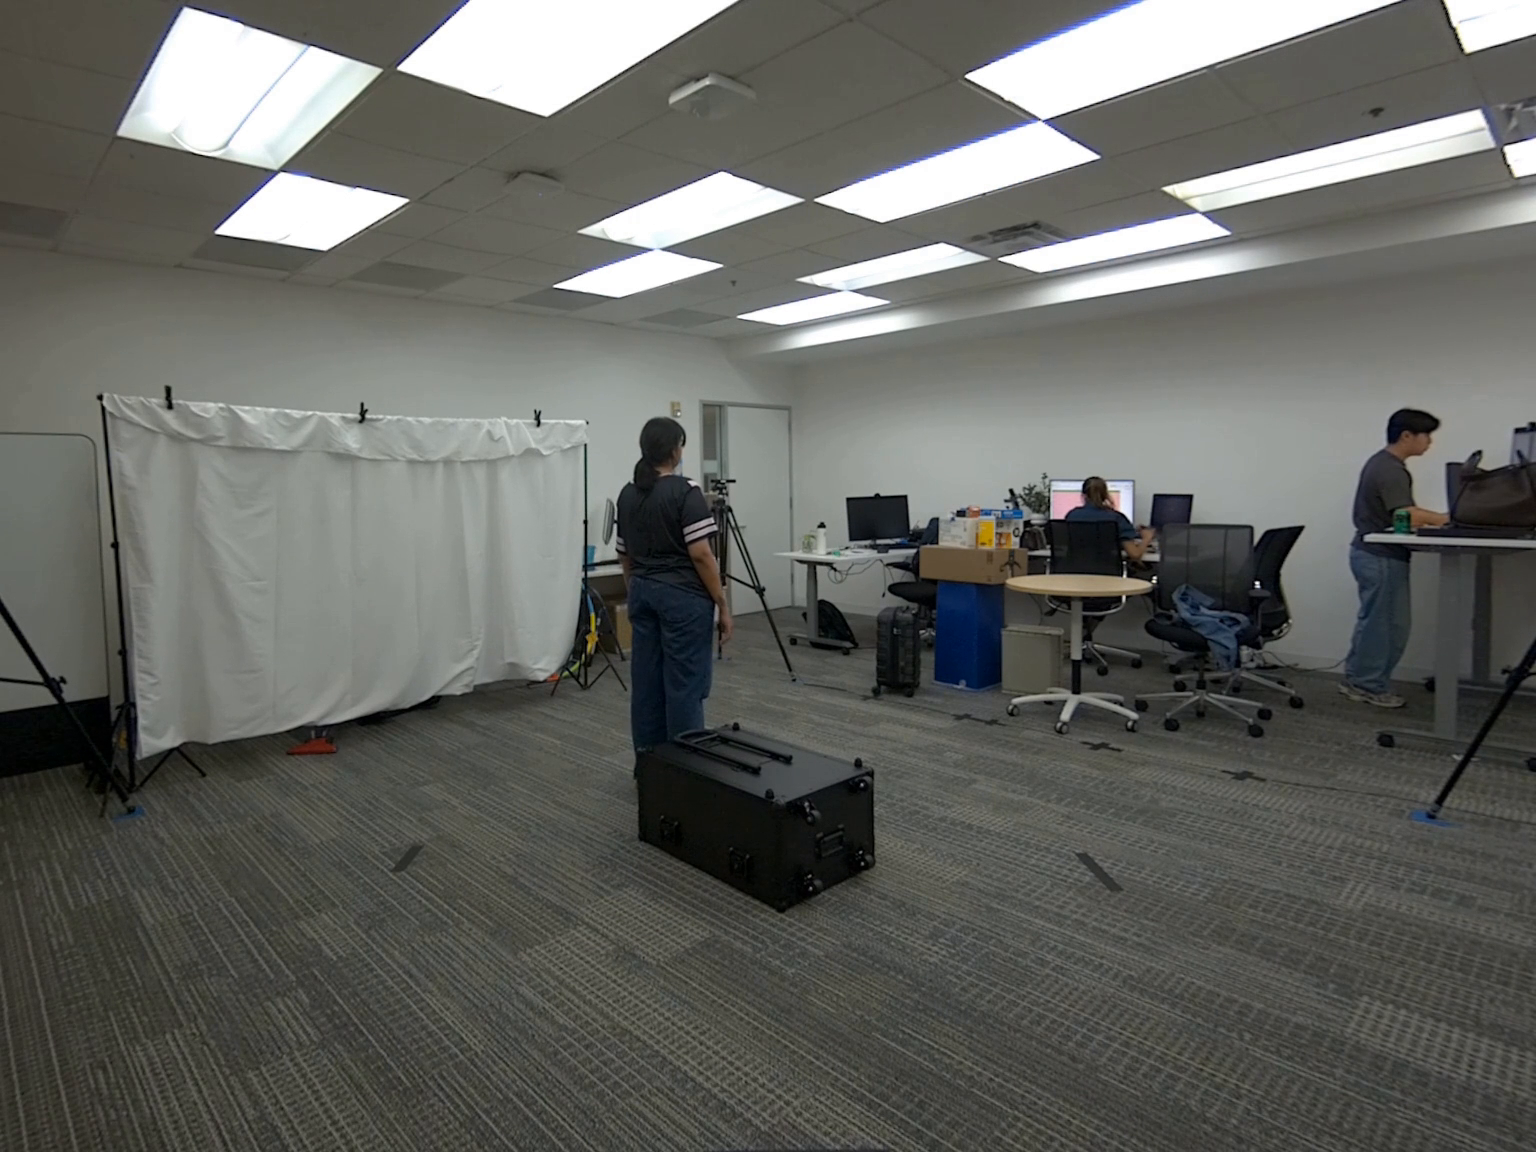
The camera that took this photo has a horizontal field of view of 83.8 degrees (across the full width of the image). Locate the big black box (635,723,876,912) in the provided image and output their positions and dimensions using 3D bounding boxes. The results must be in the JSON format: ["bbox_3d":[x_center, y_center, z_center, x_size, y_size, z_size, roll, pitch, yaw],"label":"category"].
[{"bbox_3d":[-0.030,0.856,3.169,0.509,0.384,0.895,-5,7,-43],"label":"big black box"}]
